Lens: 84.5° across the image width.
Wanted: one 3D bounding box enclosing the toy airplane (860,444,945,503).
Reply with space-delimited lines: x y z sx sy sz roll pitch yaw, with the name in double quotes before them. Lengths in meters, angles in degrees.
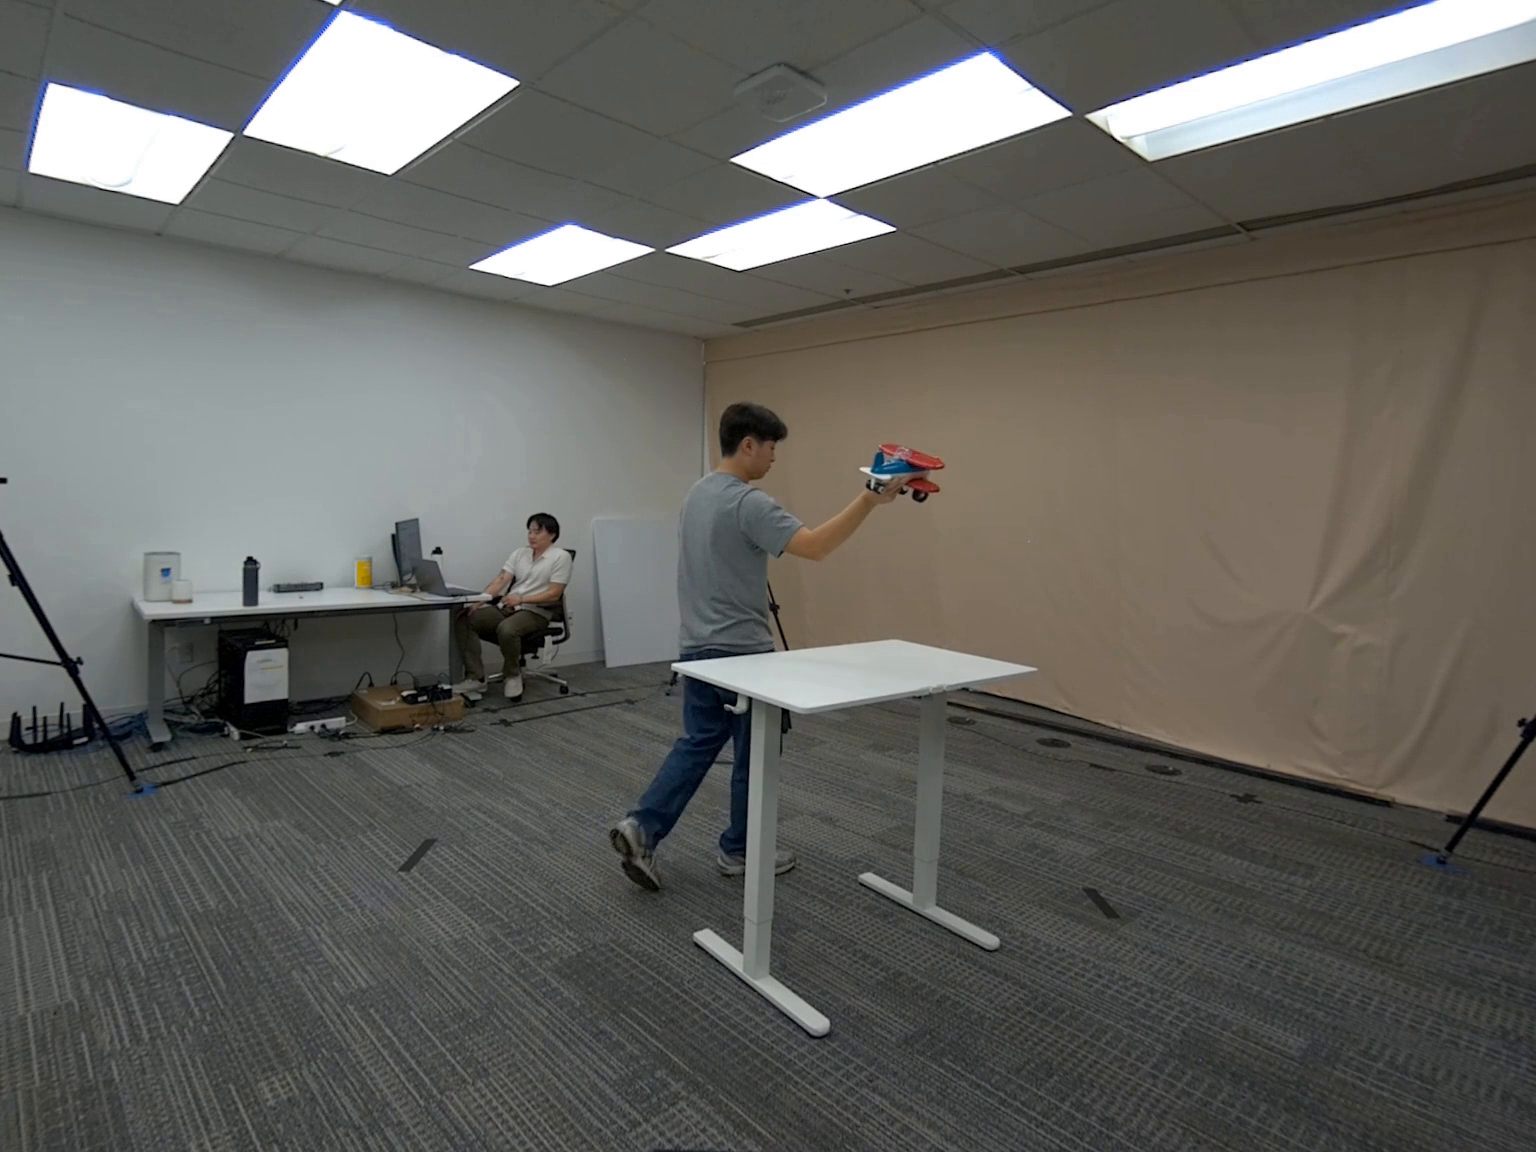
"toy airplane" 0.431 -0.331 2.712 0.256 0.155 0.256 21 14 20
